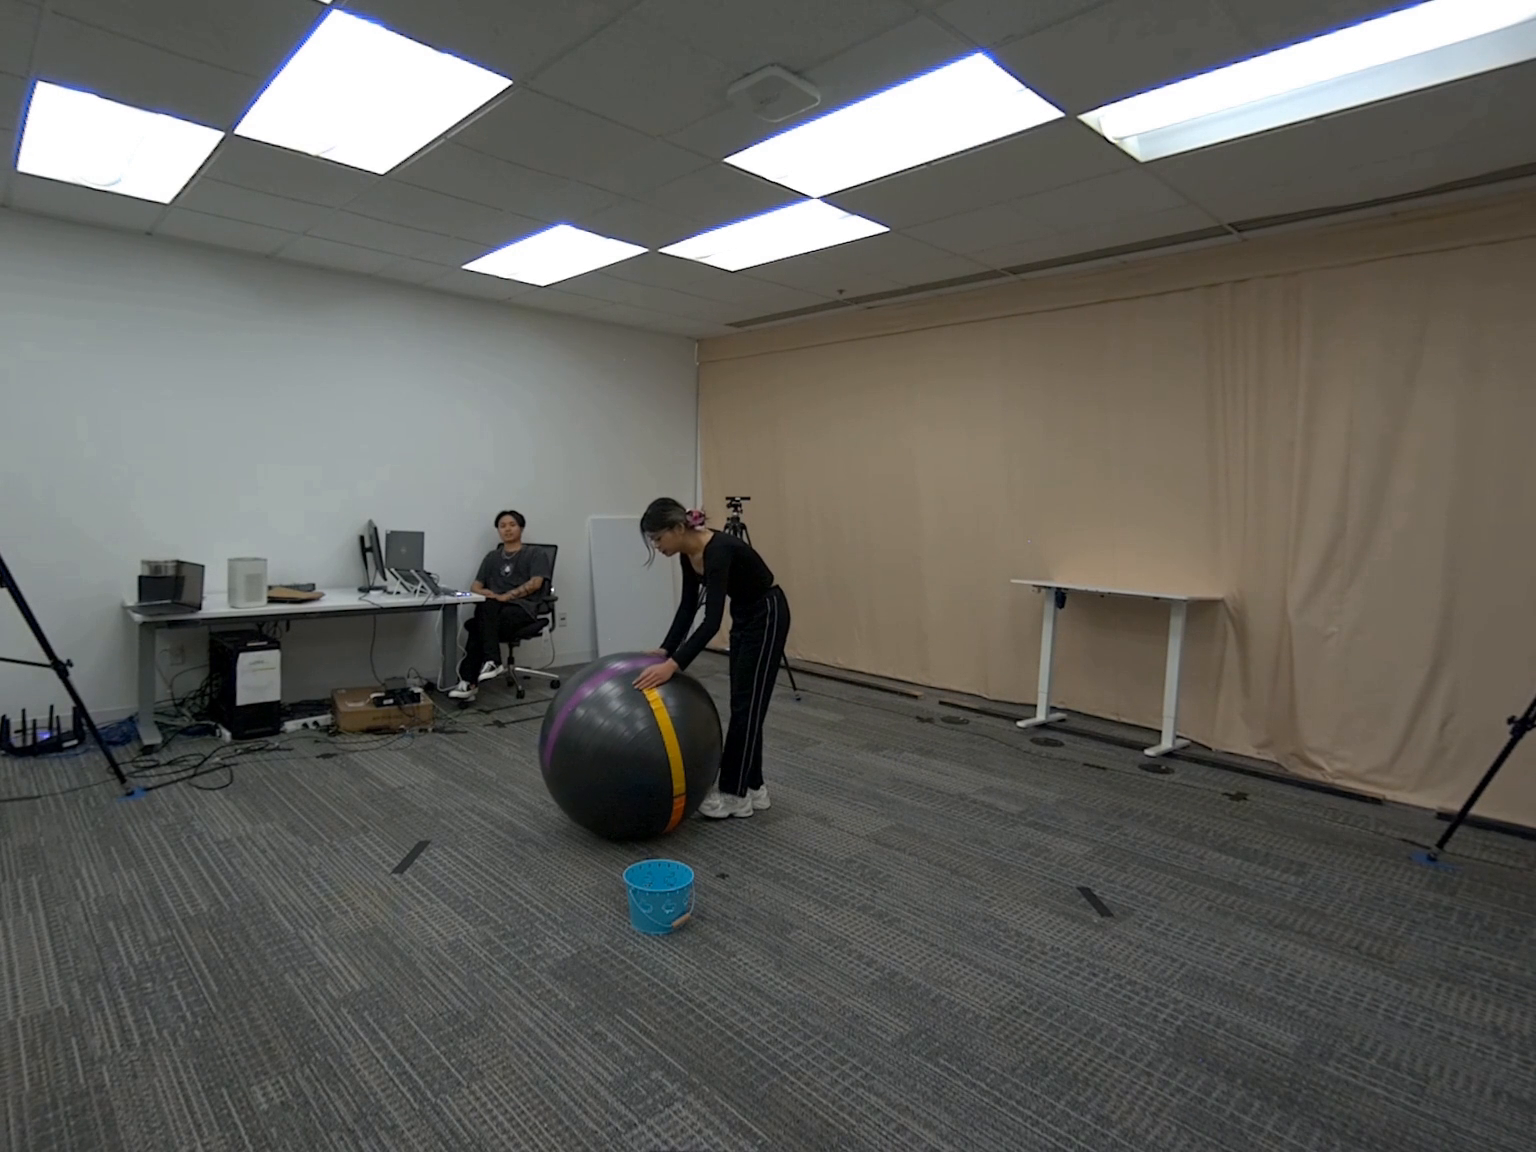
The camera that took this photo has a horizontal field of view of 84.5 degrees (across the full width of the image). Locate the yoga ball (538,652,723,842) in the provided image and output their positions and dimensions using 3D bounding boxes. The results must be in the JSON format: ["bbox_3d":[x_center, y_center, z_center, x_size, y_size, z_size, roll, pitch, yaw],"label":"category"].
[{"bbox_3d":[-0.571,0.697,3.492,0.757,0.756,0.761,1,4,-1],"label":"yoga ball"}]
